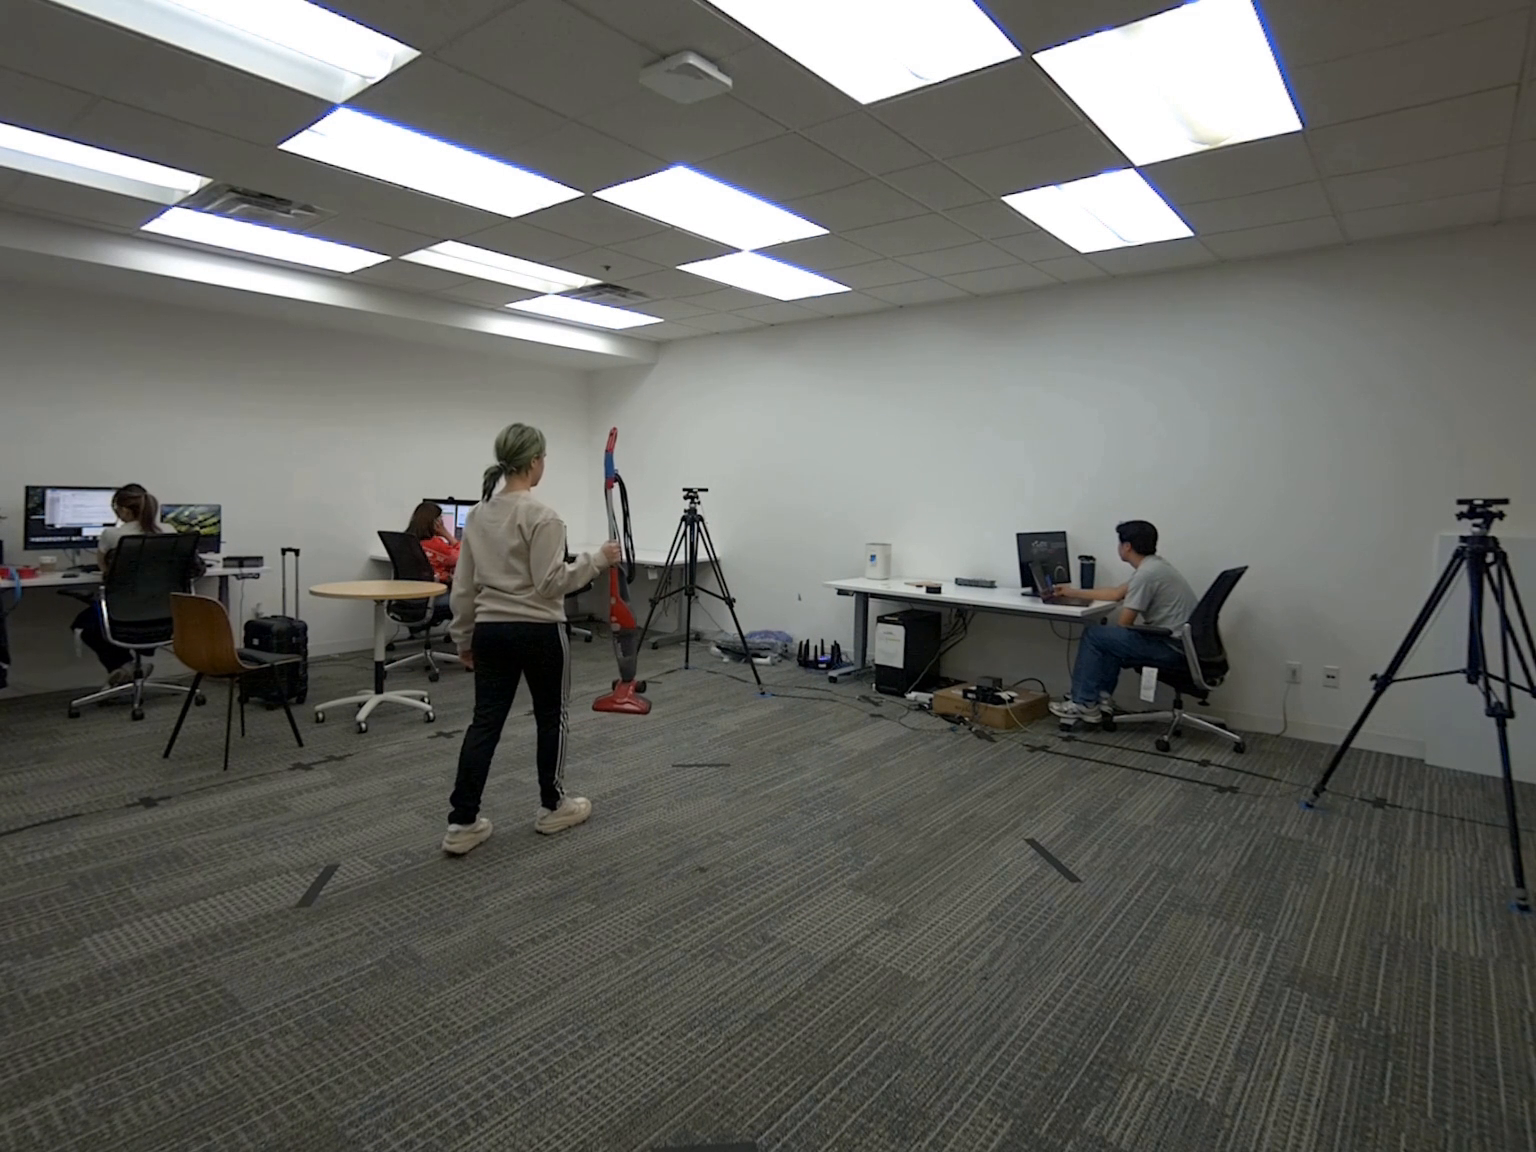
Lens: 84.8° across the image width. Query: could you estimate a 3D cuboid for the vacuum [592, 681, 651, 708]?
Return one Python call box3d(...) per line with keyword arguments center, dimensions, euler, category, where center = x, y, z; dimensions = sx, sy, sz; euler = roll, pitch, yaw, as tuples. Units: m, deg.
box3d(center=(-0.591, -0.052, 3.324), dimensions=(0.254, 1.048, 0.143), euler=(-1, 1, 4), category="vacuum")
